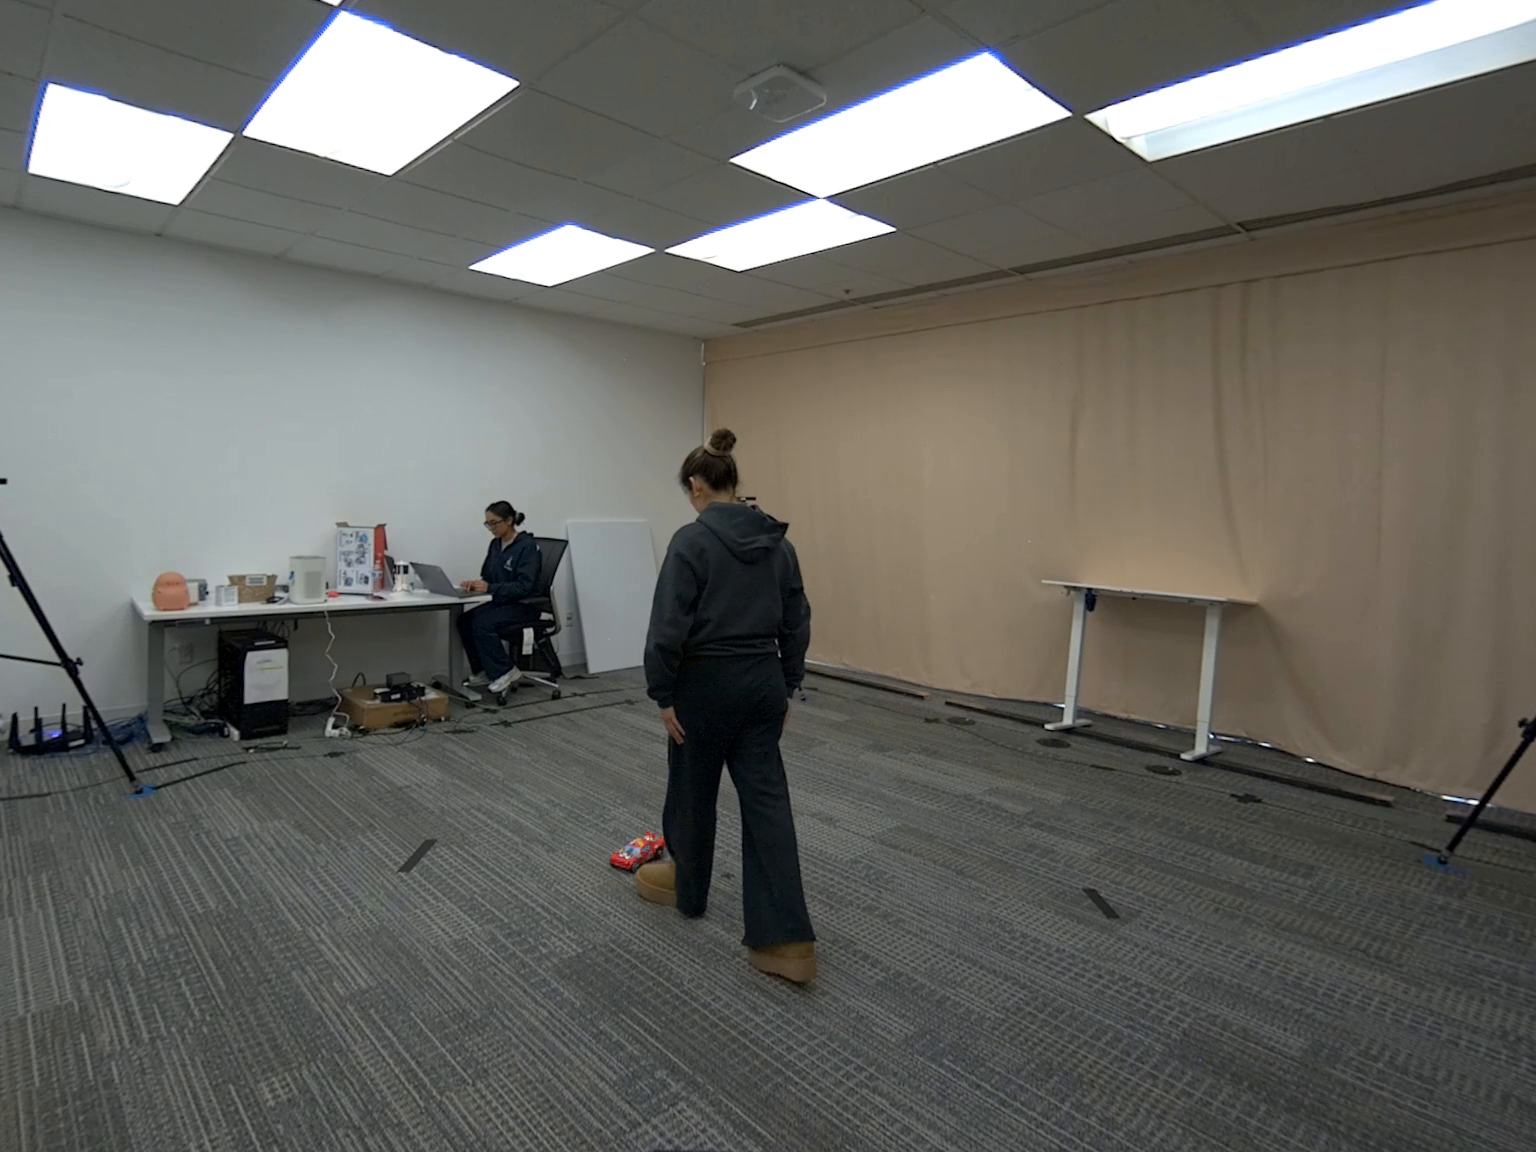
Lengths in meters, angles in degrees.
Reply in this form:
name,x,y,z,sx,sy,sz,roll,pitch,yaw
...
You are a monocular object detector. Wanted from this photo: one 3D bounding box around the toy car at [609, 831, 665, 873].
name,x,y,z,sx,sy,sz,roll,pitch,yaw
toy car,-0.498,1.057,3.223,0.133,0.082,0.251,3,16,31
